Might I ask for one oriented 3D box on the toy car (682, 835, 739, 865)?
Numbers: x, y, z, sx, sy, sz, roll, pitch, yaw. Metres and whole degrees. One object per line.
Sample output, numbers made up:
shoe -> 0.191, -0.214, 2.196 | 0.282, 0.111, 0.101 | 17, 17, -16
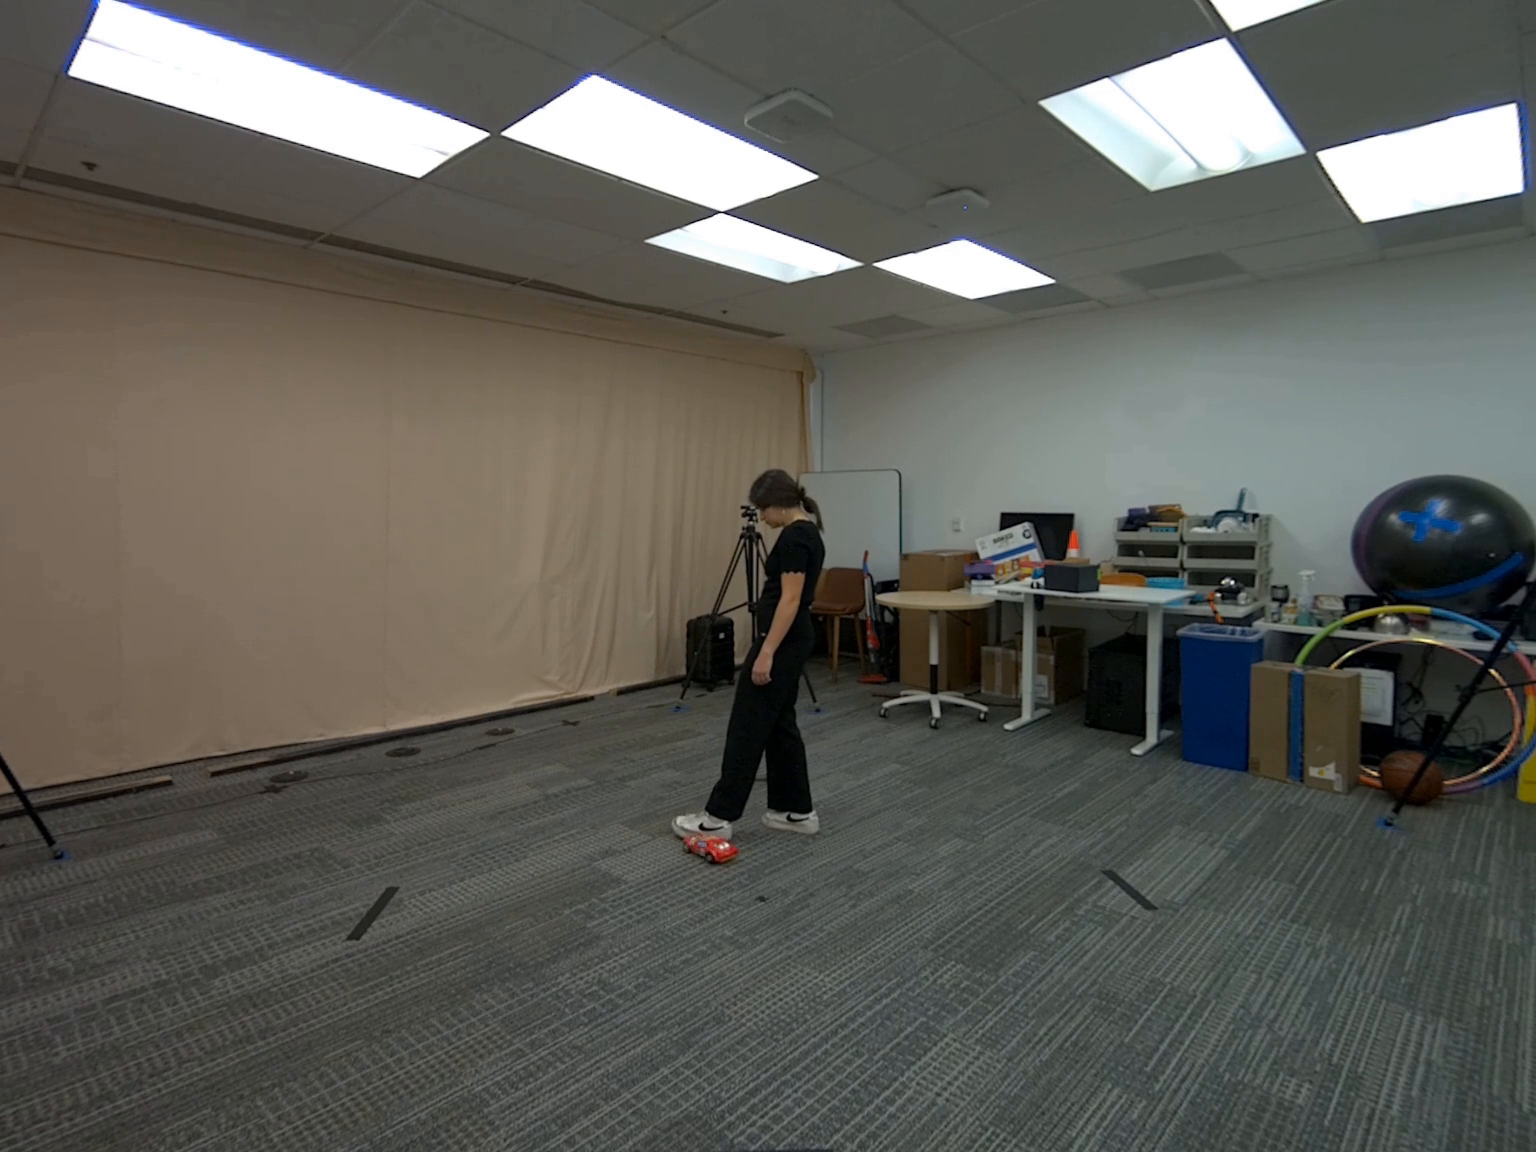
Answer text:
toy car -> -0.221, 1.075, 3.342 | 0.126, 0.083, 0.261 | -5, -4, -41
